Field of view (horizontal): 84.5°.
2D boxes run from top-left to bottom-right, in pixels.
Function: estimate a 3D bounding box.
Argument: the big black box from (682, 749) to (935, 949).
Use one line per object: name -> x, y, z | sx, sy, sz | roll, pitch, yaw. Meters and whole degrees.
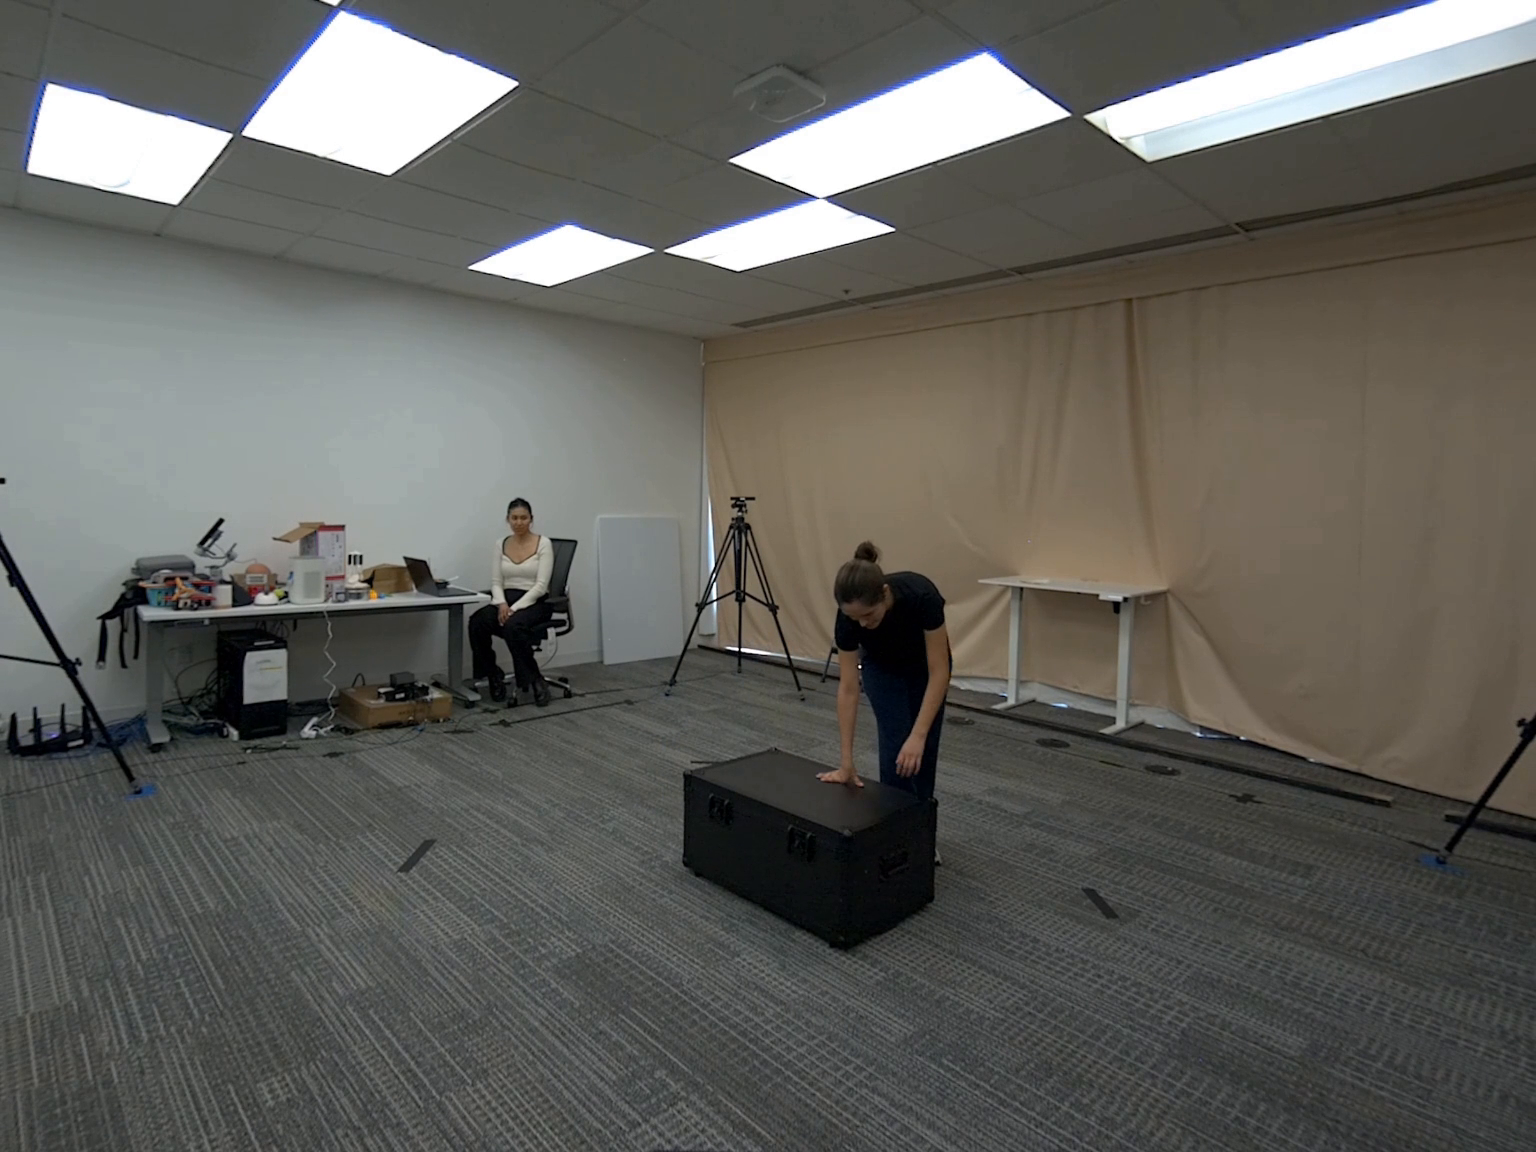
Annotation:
big black box -> 0.099, 0.915, 3.011 | 0.509, 0.395, 0.883 | -3, 6, -45
